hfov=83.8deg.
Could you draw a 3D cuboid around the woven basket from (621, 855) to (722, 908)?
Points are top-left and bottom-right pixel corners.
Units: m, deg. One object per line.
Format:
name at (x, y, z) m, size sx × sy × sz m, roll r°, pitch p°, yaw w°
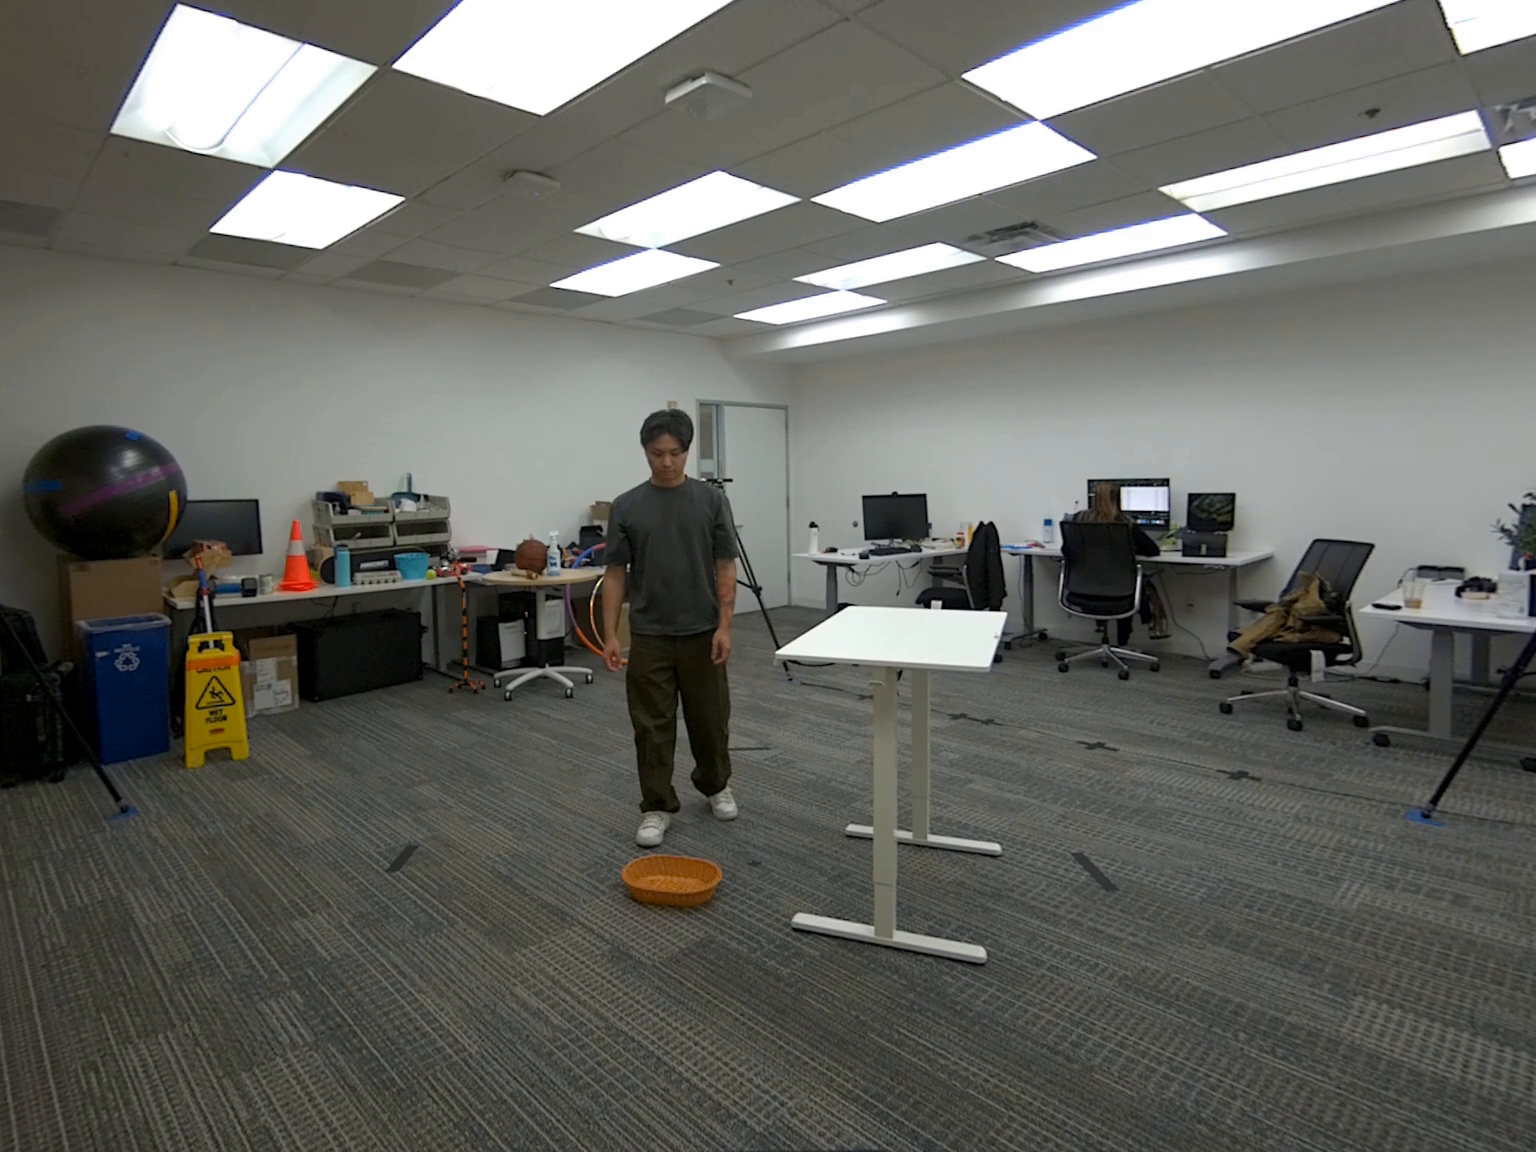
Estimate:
woven basket at (-0.325, 1.040, 2.895) m, size 0.356 × 0.073 × 0.249 m, roll 1°, pitch 7°, yaw 18°
